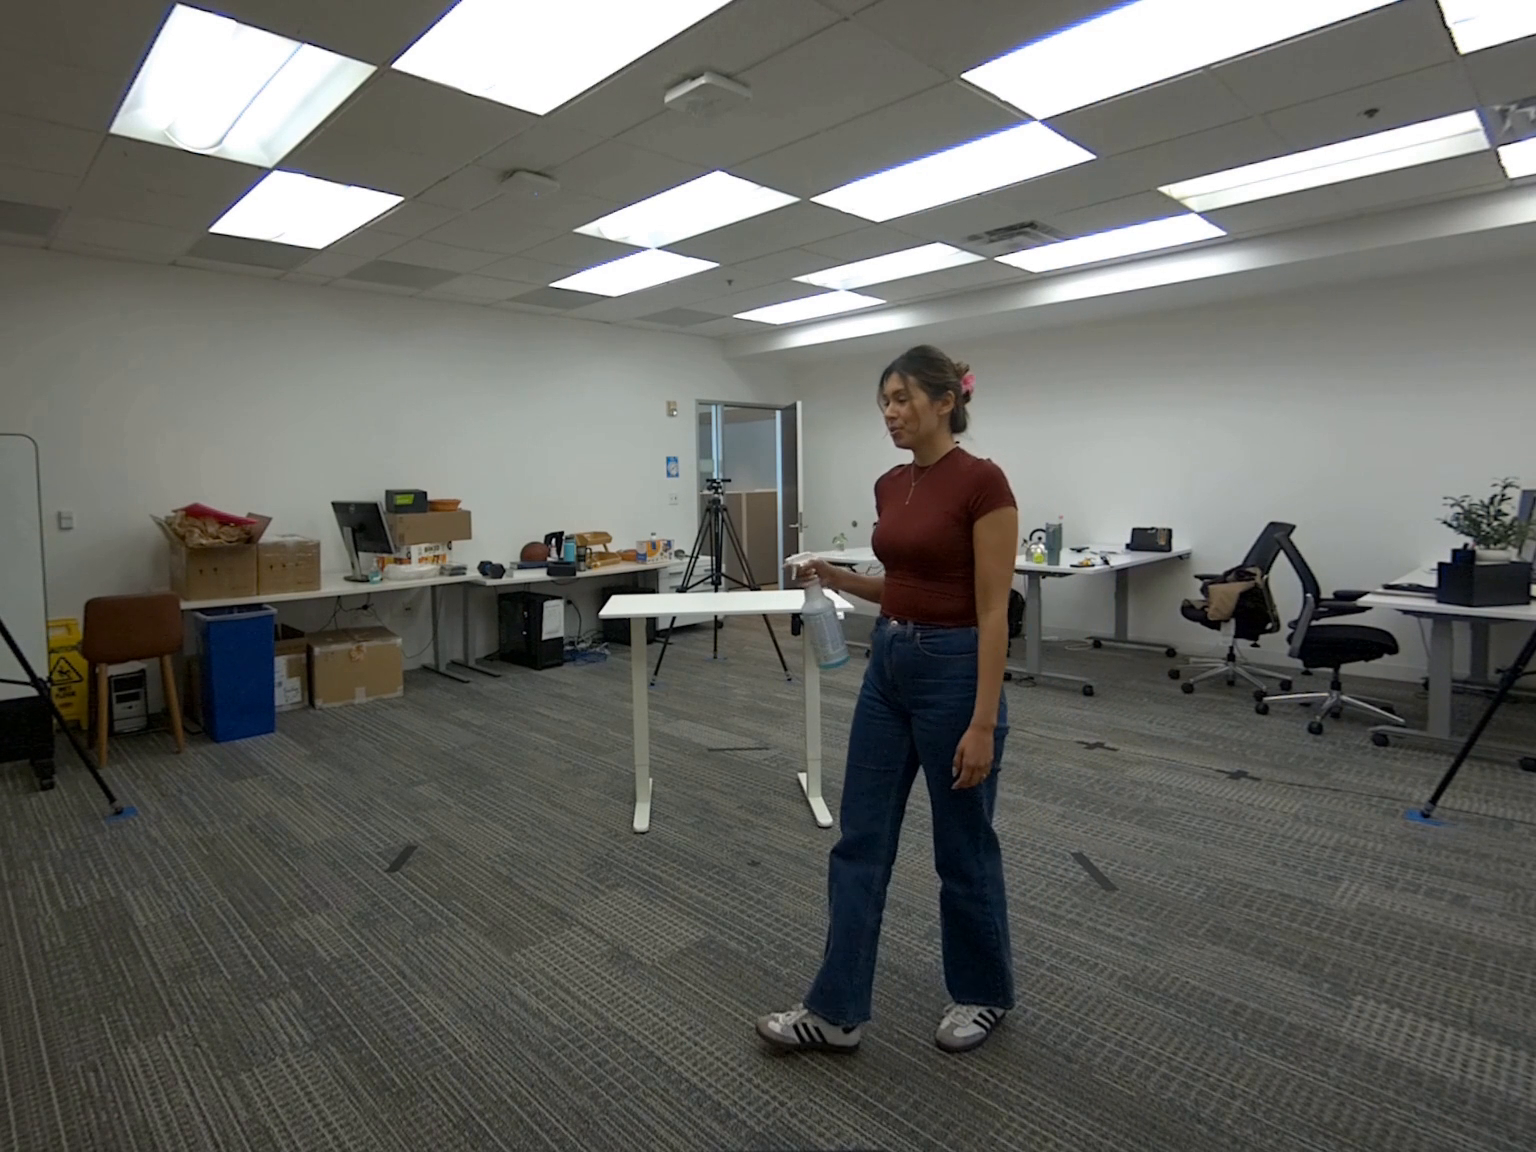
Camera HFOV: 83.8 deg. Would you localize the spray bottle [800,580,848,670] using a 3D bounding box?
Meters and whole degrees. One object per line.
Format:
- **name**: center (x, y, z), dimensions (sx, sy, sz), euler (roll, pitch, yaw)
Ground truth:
- **spray bottle**: center (0.134, 0.081, 2.139), dimensions (0.090, 0.295, 0.088), euler (-18, 6, -2)
